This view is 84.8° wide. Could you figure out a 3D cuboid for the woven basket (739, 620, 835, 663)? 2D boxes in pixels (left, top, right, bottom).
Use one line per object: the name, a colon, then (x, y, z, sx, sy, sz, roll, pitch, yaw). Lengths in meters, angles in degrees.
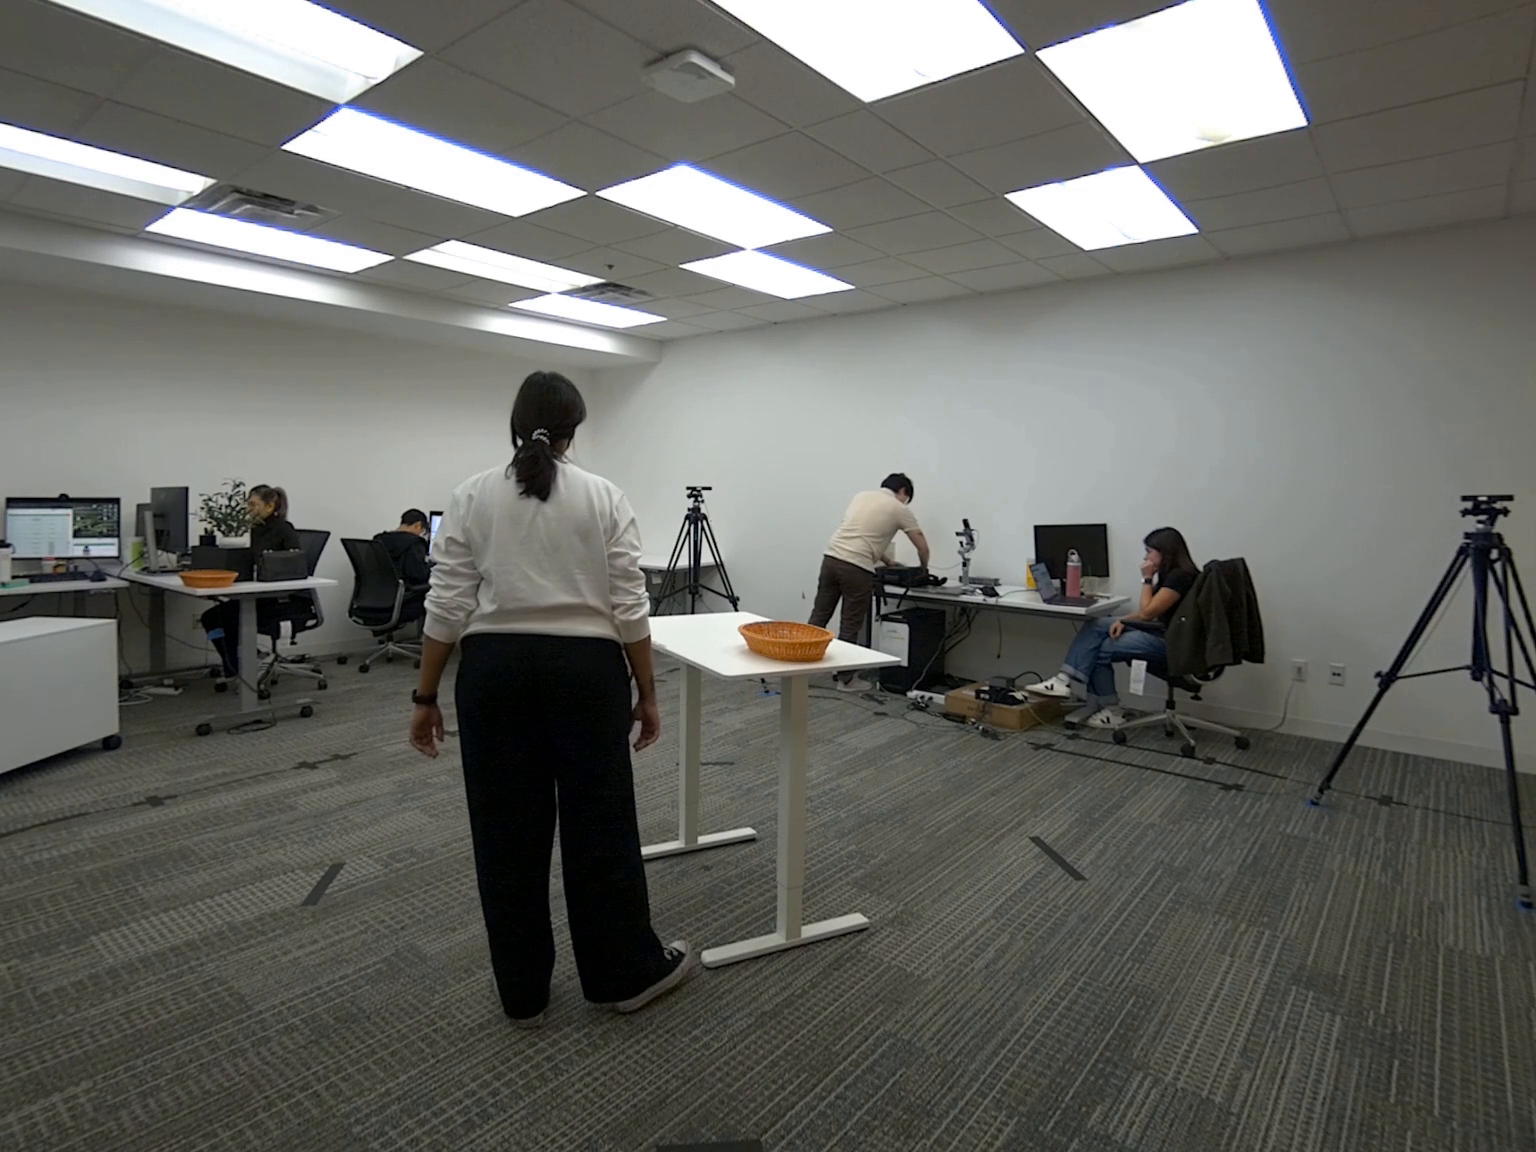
woven basket: (0.033, 0.210, 2.630, 0.246, 0.073, 0.361, -2, 8, -27)
